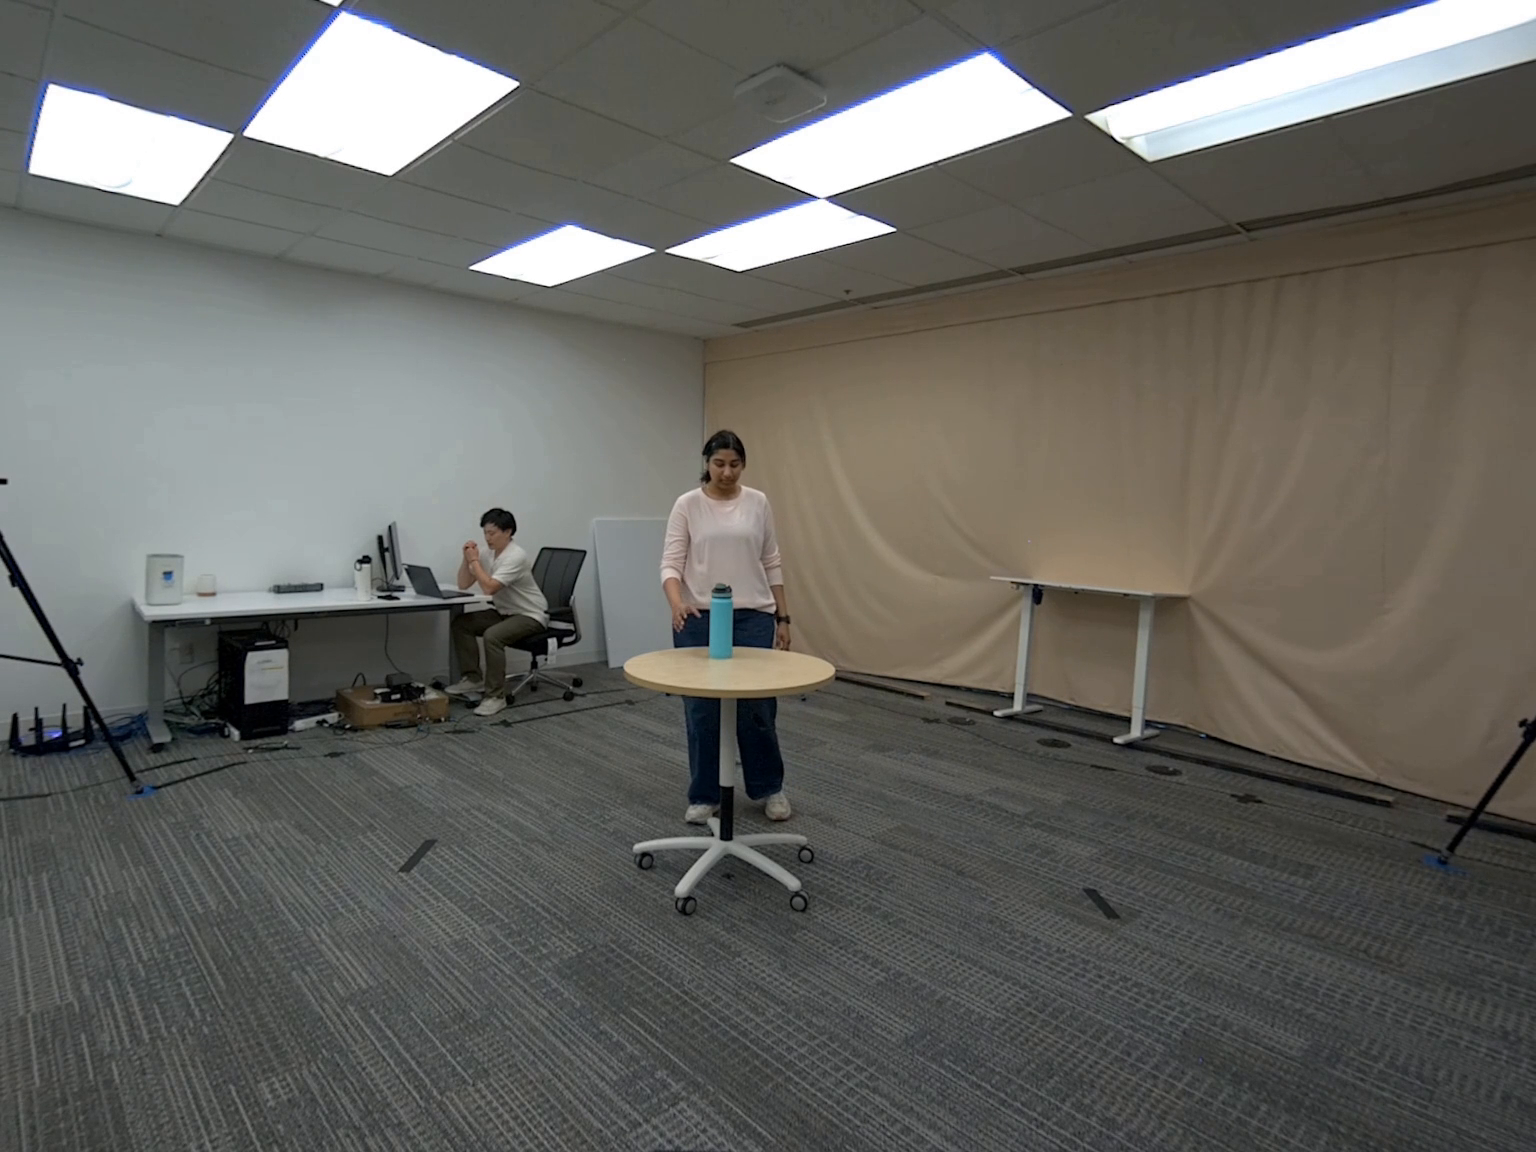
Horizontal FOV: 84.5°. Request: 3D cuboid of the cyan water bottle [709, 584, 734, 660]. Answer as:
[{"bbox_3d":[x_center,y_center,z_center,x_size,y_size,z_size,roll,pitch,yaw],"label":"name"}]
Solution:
[{"bbox_3d":[-0.196,0.170,3.224,0.092,0.283,0.092,1,2,-1],"label":"cyan water bottle"}]
